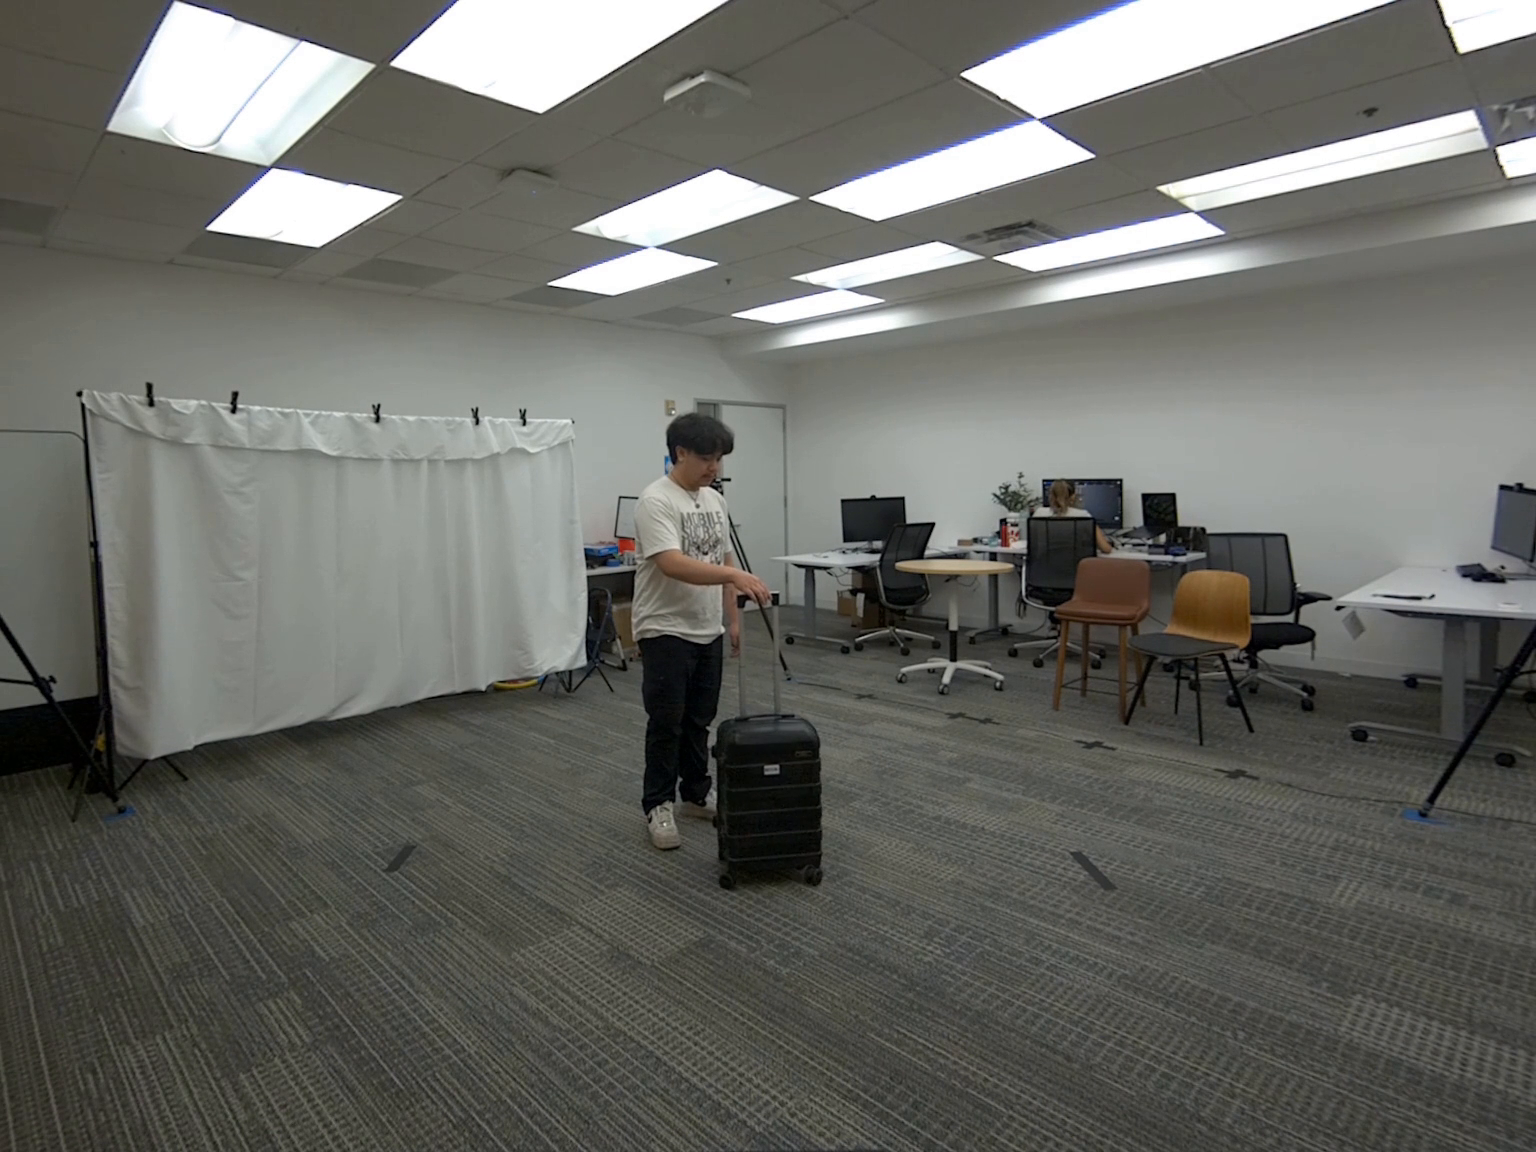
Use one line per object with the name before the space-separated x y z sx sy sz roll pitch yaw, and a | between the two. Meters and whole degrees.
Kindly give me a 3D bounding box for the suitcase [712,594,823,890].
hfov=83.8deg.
suitcase | -0.003 0.577 3.012 0.381 0.975 0.260 -3 4 -8
